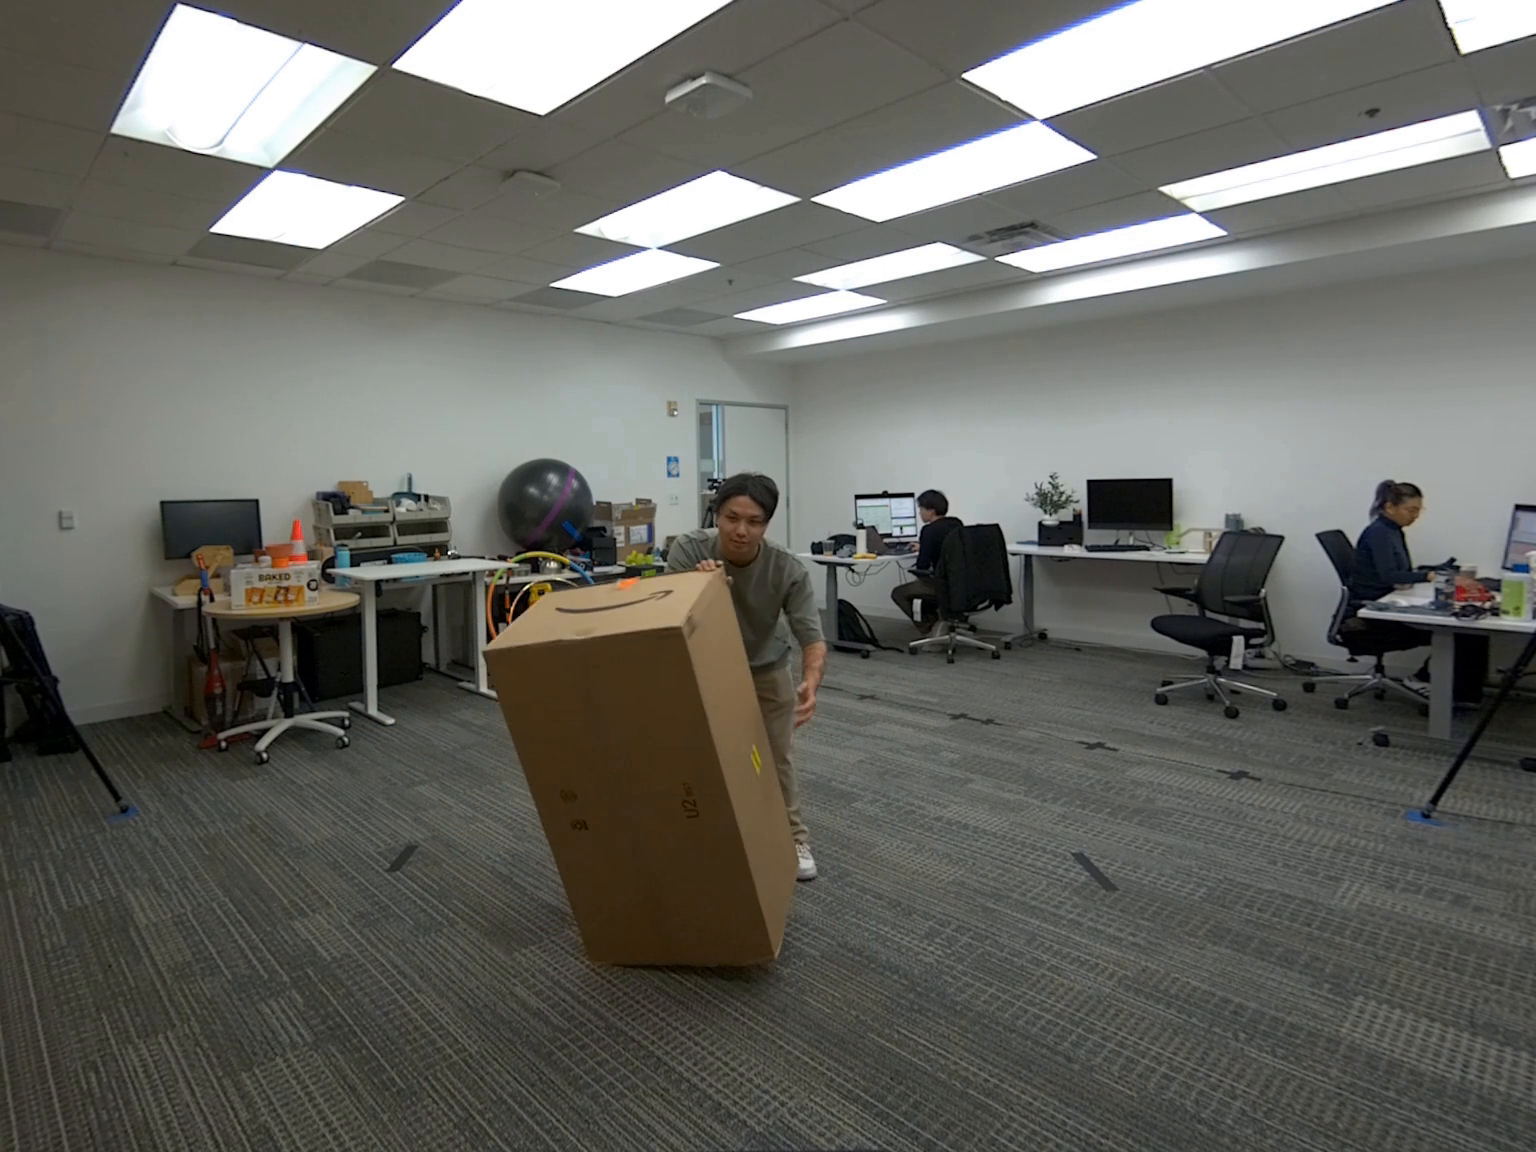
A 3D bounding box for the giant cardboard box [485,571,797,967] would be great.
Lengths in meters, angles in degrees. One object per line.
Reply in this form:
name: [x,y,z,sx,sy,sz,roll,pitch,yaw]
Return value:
giant cardboard box: [-0.331,0.555,2.472,0.585,1.010,0.427,-9,15,16]
